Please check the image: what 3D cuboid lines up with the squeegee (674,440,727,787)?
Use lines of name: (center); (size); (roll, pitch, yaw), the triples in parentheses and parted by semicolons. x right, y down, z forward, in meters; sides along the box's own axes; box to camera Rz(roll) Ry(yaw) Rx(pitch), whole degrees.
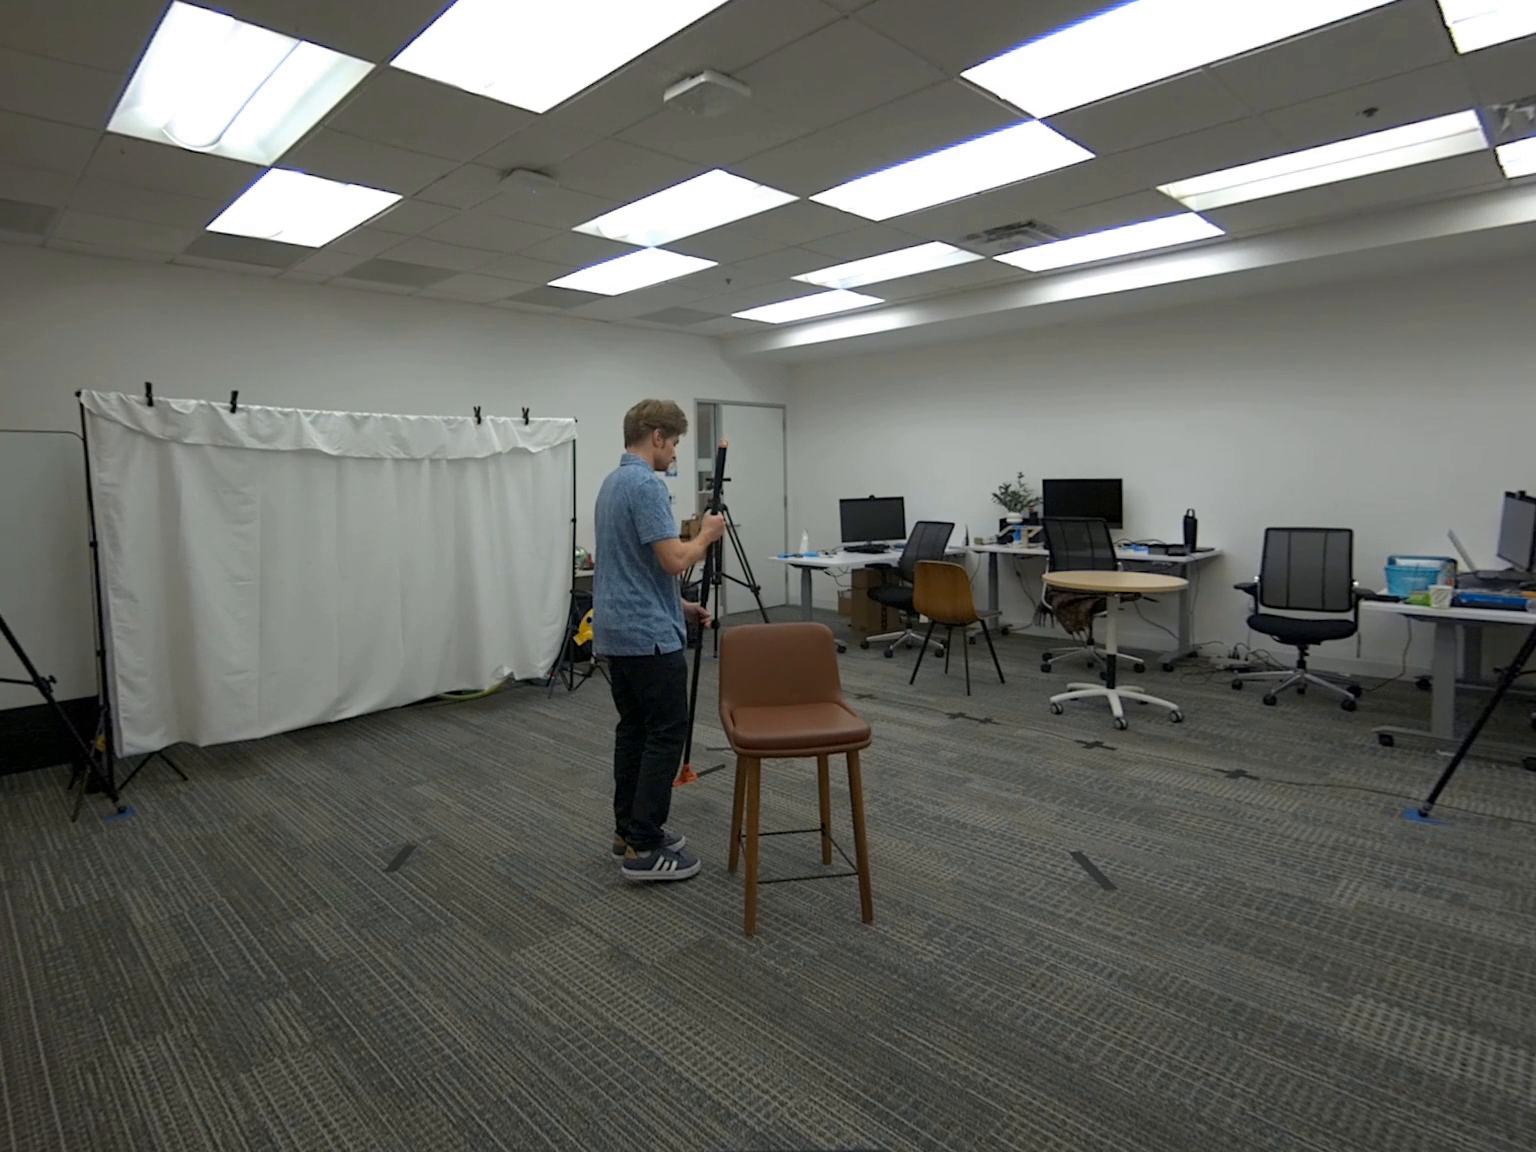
squeegee: (-0.265, 0.206, 3.366); (0.427, 1.513, 0.055); (-8, 27, -35)
